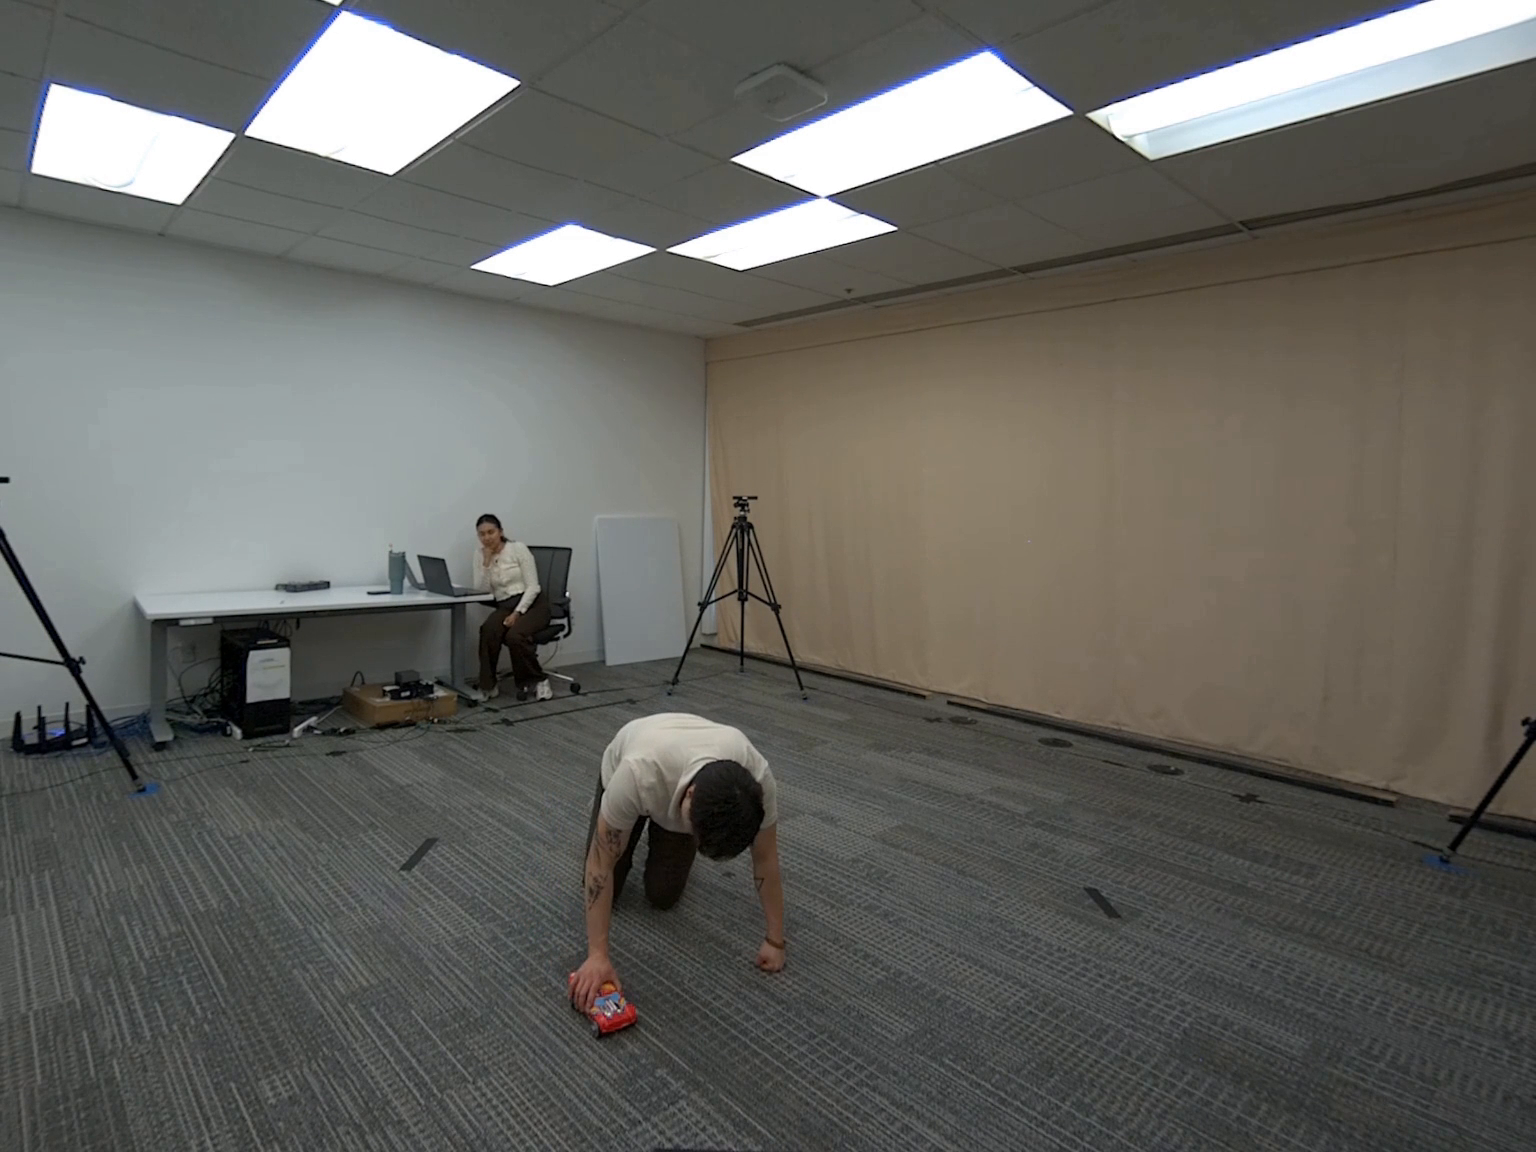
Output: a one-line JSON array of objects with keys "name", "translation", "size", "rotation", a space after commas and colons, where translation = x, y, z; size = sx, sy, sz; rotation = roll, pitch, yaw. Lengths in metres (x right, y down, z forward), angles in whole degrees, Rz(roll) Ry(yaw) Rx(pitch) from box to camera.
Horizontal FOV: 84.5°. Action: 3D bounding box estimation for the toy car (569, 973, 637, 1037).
[{"name": "toy car", "translation": [-0.466, 1.149, 2.257], "size": [0.127, 0.082, 0.262], "rotation": [-3, 15, -33]}]
